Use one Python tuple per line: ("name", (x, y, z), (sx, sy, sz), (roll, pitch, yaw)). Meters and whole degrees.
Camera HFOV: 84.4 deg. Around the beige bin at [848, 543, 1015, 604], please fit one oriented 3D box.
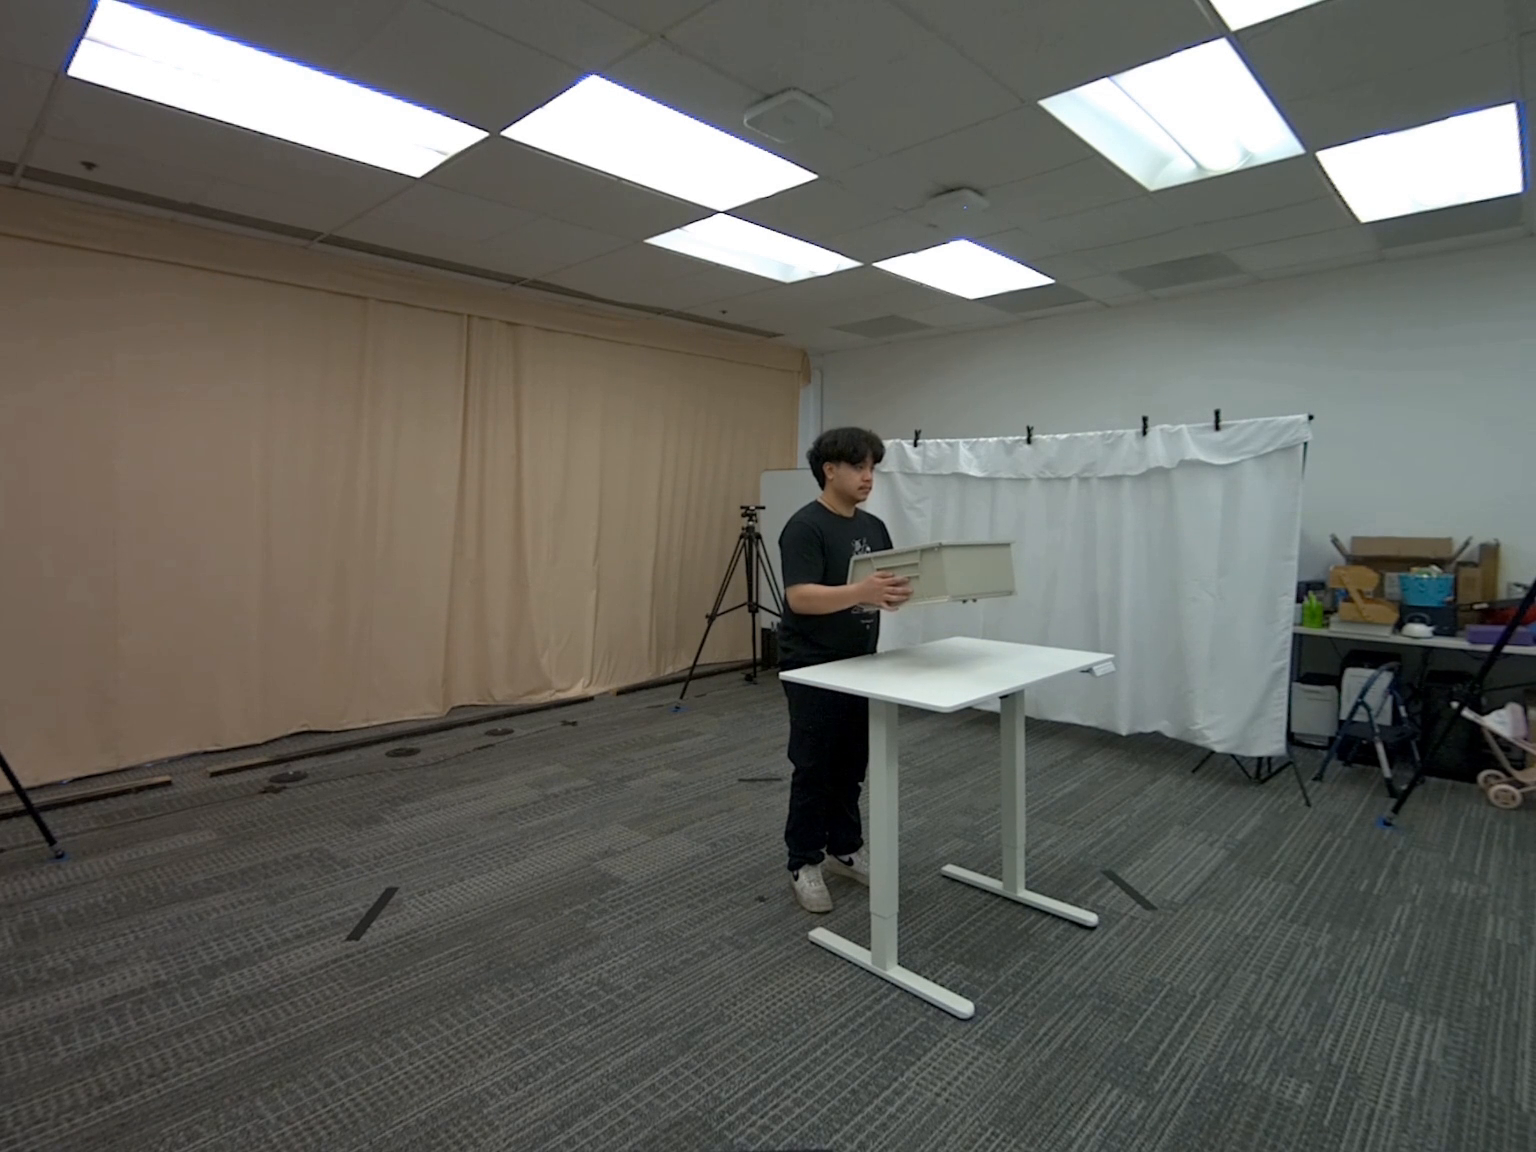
("beige bin", (0.530, 0.007, 2.732), (0.409, 0.189, 0.388), (-2, -4, -43))
